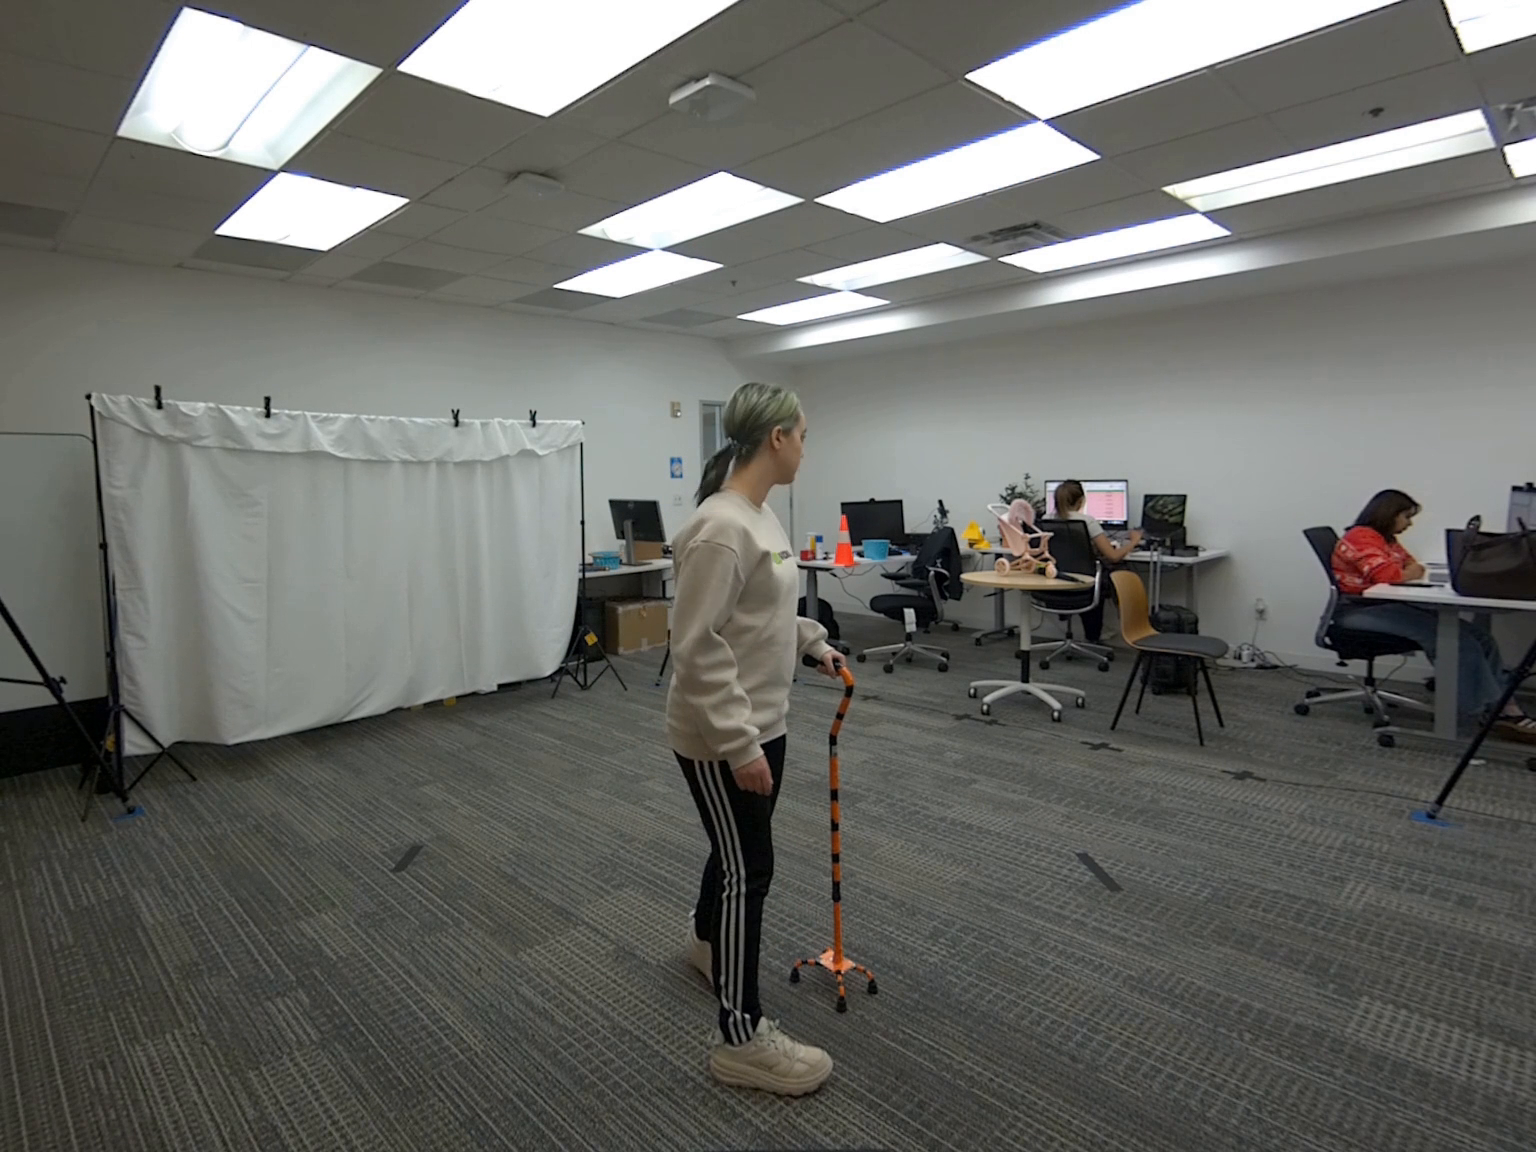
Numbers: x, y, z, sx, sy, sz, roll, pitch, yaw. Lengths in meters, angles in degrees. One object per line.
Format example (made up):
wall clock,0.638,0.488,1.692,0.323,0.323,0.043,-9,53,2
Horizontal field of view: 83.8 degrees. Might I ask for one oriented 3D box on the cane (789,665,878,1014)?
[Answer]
cane,0.181,0.675,2.332,0.147,0.905,0.213,-3,4,-41
